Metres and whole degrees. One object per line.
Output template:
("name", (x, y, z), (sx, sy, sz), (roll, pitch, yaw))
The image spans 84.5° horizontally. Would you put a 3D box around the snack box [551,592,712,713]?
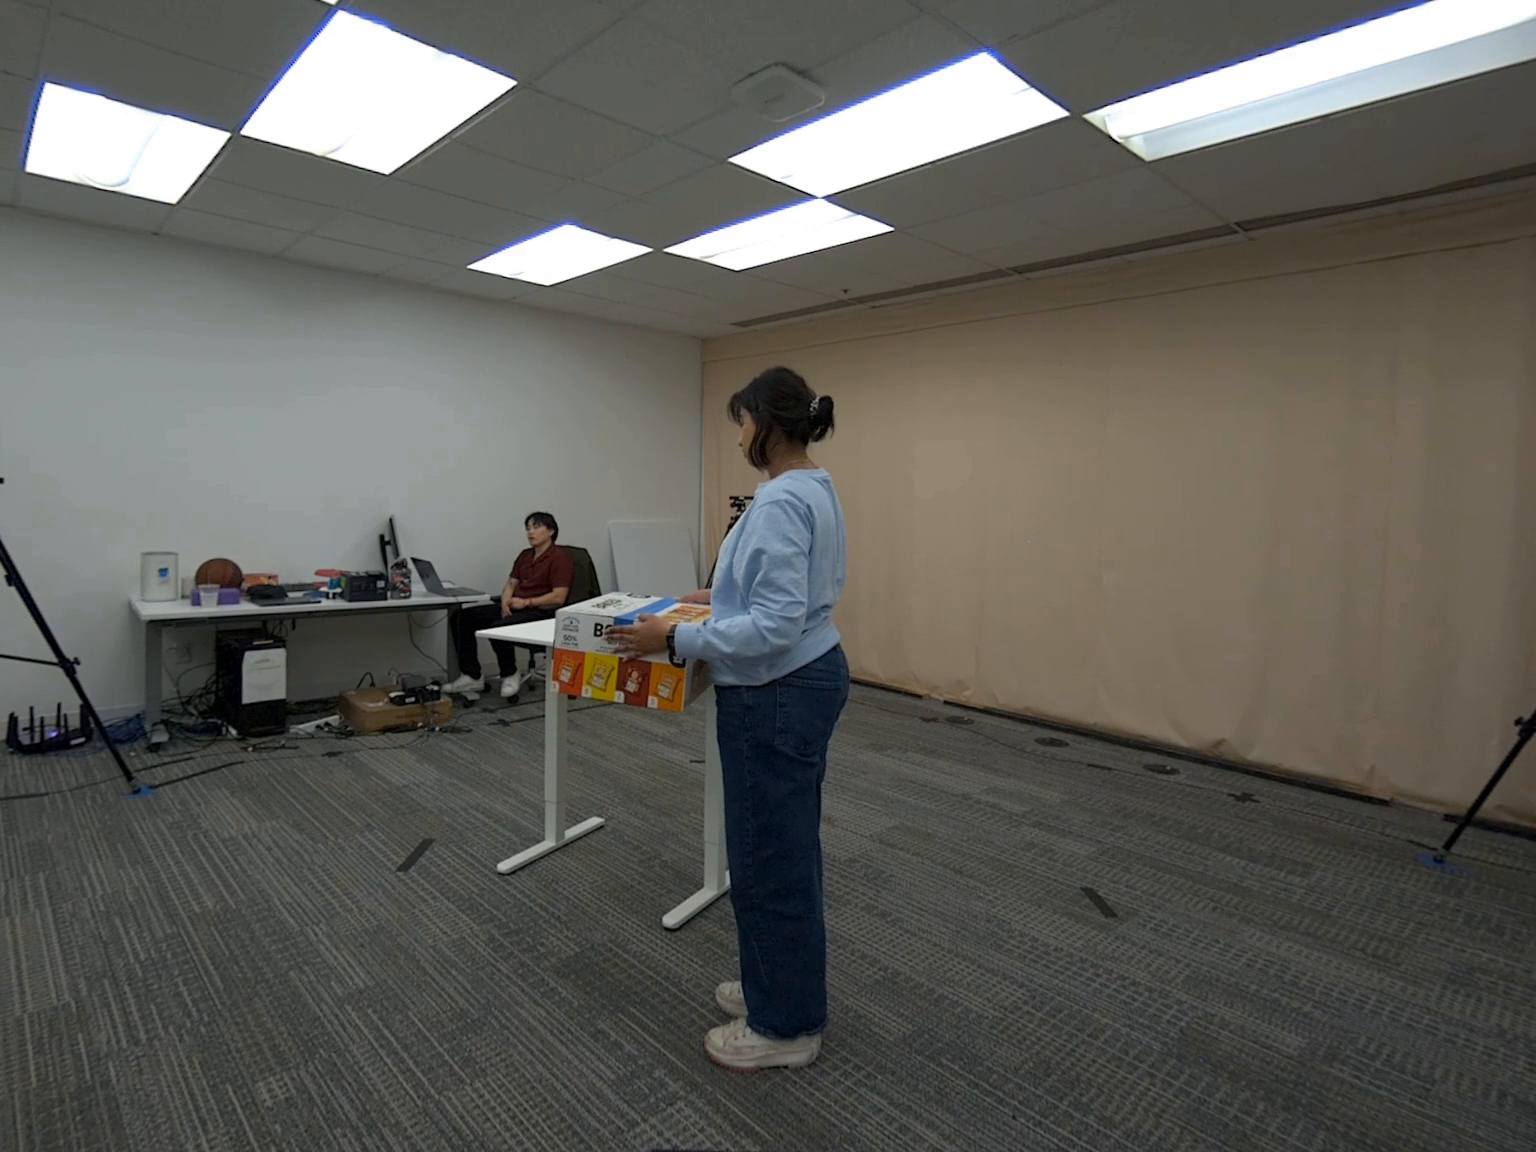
("snack box", (-0.322, 0.183, 2.195), (0.344, 0.205, 0.402), (6, 5, 11))
